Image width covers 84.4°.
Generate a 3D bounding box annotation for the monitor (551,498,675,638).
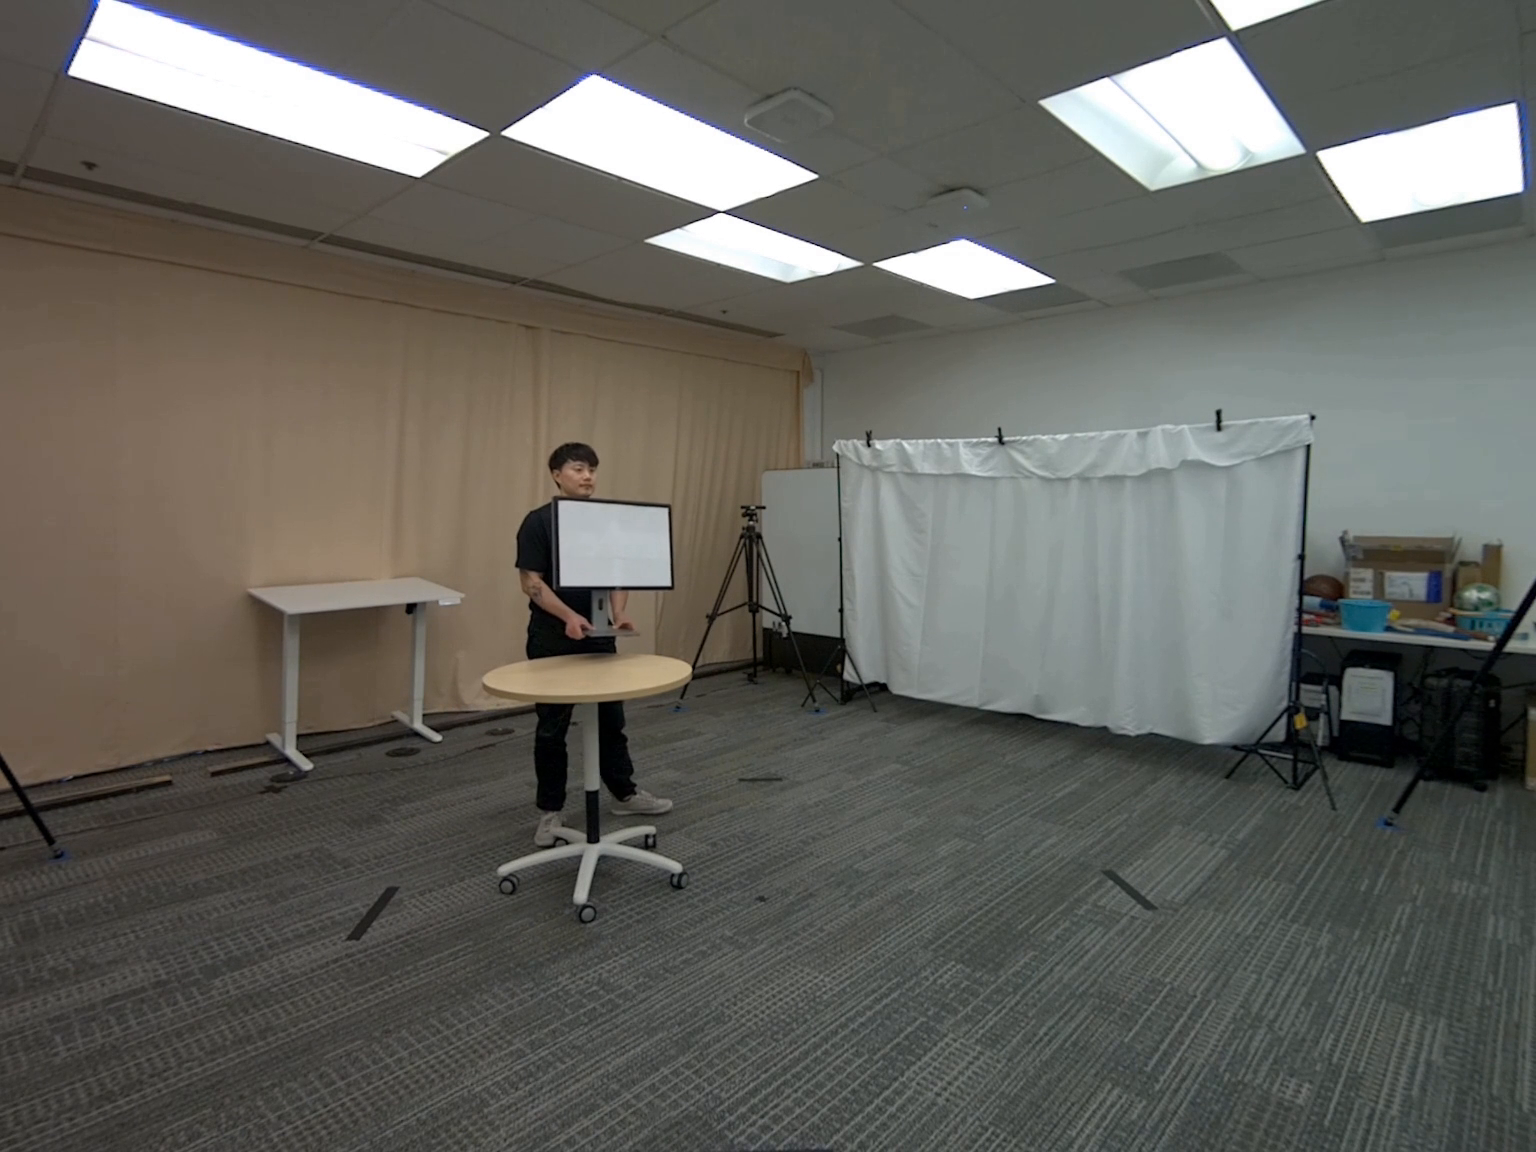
[{"bbox_3d":[-0.636,-0.041,3.397,0.522,0.521,0.194,2,6,-43],"label":"monitor"}]
